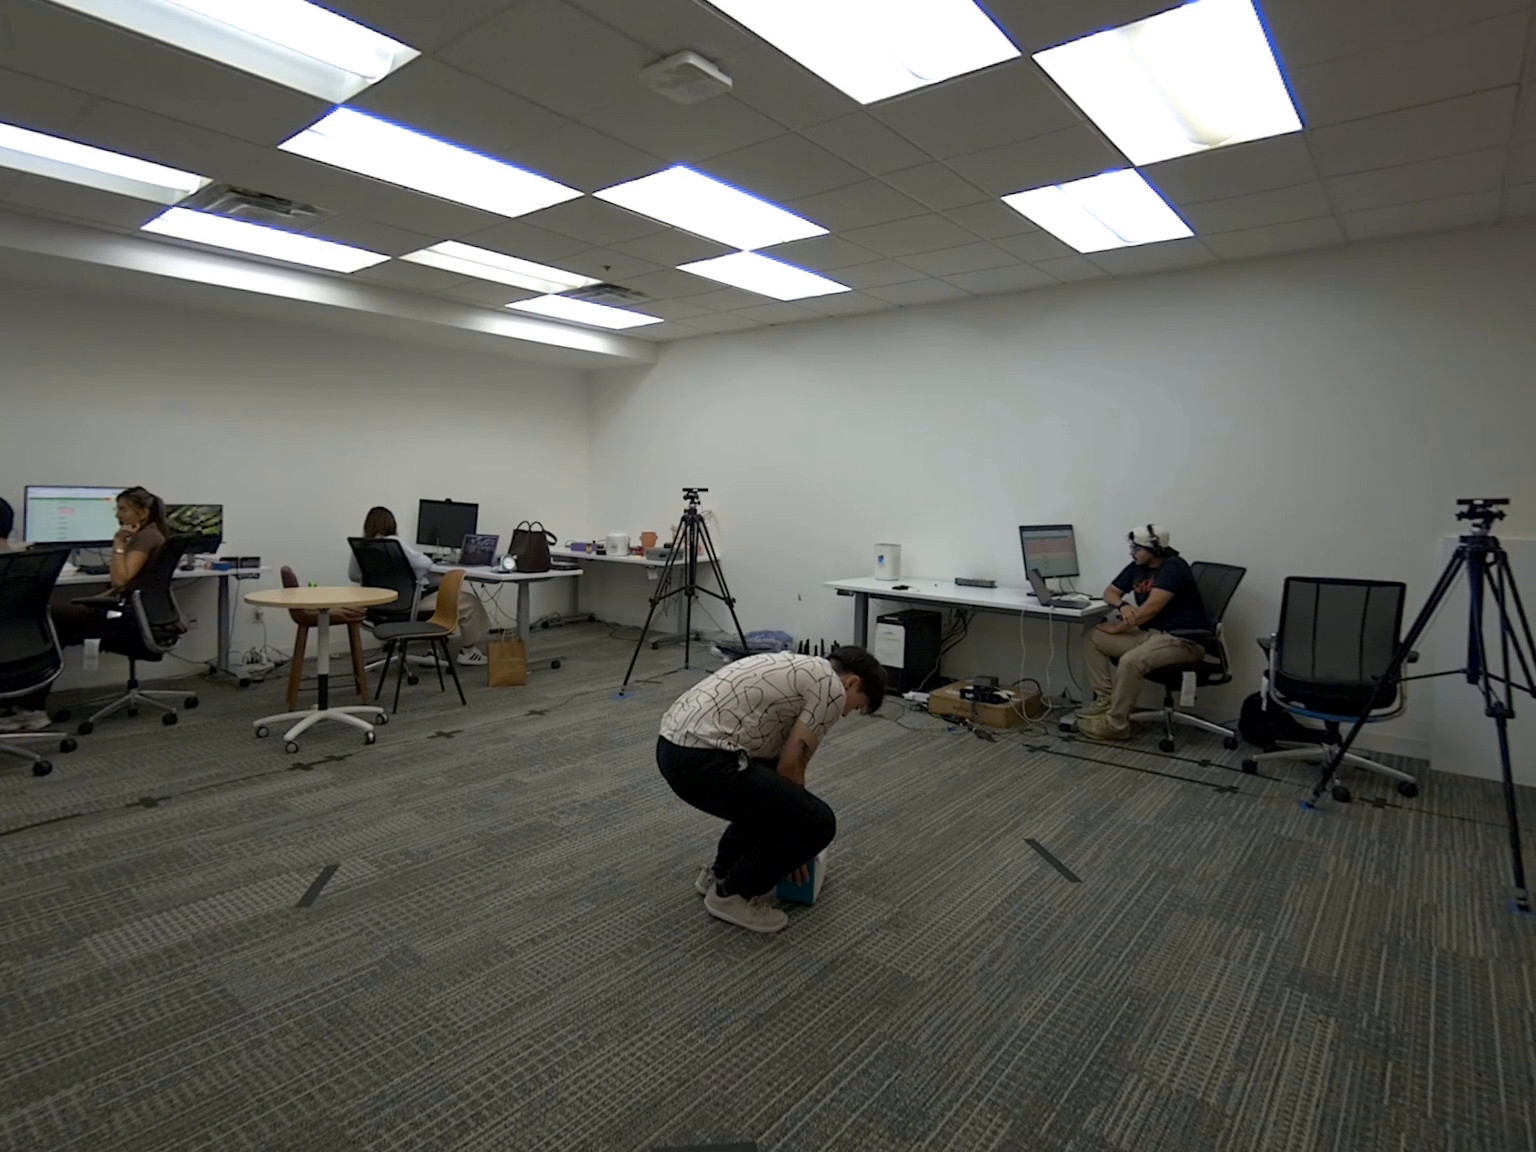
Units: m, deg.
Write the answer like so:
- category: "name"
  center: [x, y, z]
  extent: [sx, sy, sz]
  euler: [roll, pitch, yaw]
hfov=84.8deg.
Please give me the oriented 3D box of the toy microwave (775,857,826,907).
- category: "toy microwave"
  center: [0.118, 0.990, 2.968]
  extent: [0.155, 0.183, 0.283]
  euler: [3, 5, 12]
